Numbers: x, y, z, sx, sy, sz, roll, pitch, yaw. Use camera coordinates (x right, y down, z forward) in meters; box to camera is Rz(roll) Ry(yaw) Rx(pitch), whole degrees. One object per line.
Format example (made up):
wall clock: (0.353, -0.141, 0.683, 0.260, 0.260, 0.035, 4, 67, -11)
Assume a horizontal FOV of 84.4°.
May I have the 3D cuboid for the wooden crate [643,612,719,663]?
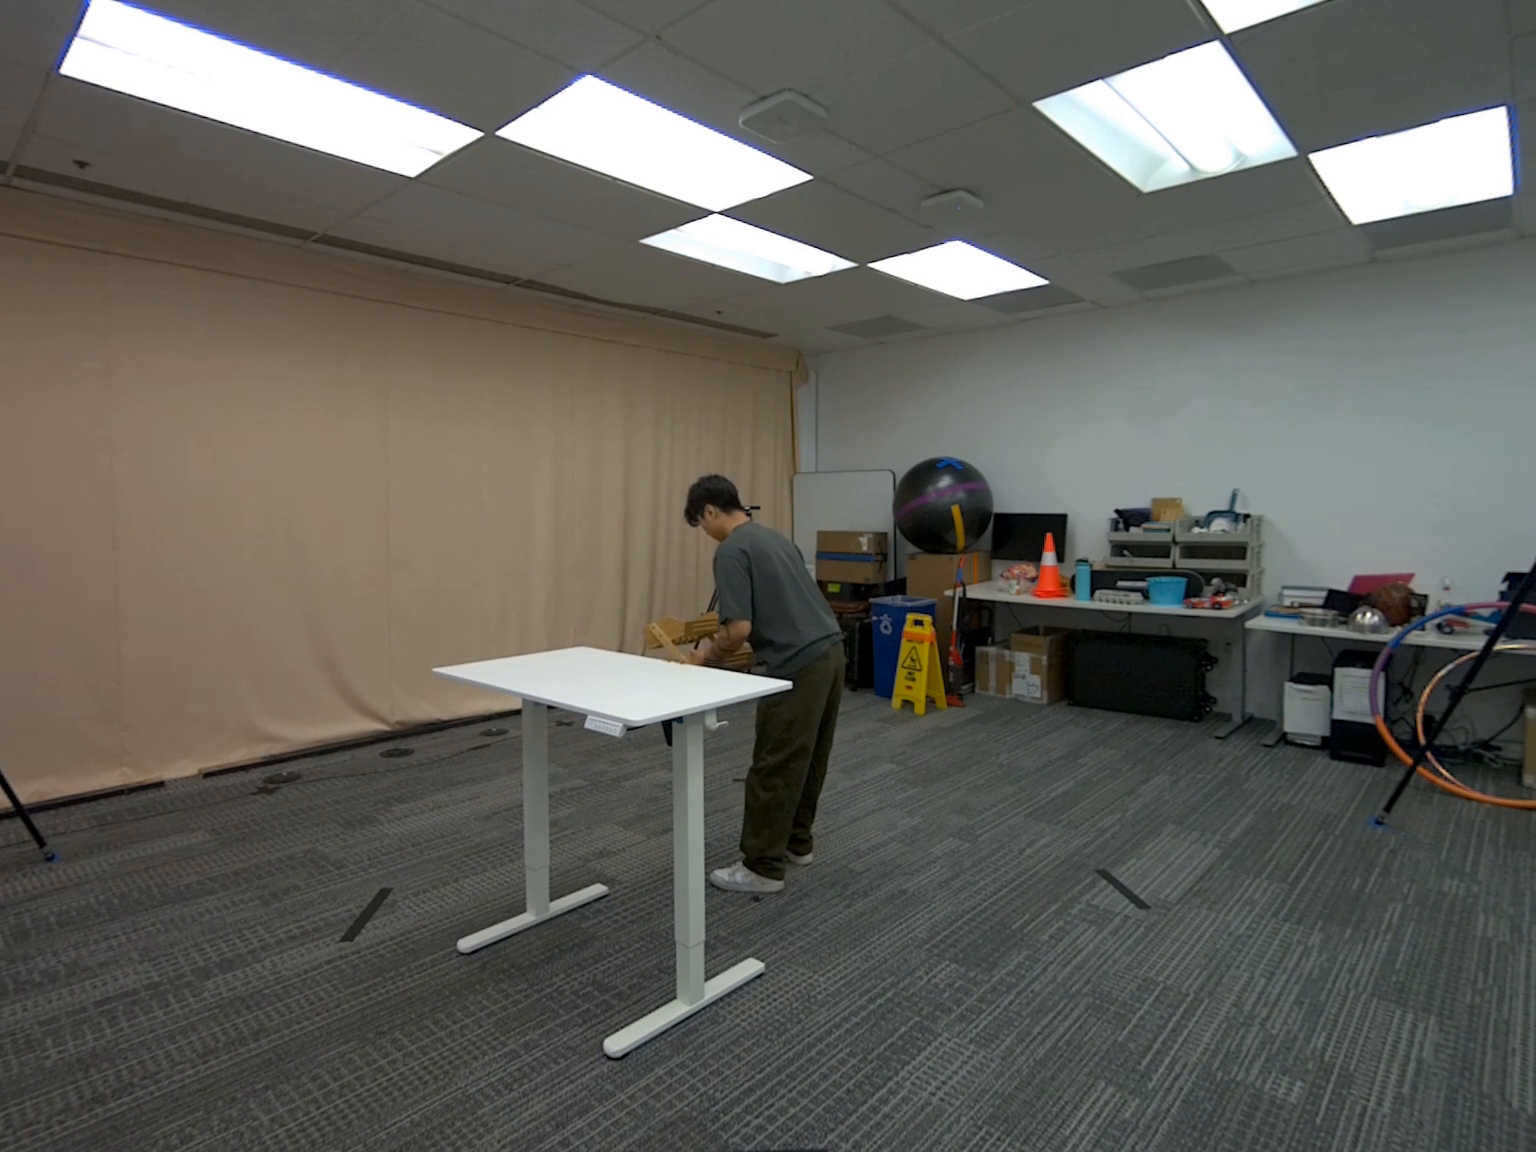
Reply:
wooden crate: (-0.276, 0.271, 3.386, 0.307, 0.276, 0.315, -23, -12, 28)
